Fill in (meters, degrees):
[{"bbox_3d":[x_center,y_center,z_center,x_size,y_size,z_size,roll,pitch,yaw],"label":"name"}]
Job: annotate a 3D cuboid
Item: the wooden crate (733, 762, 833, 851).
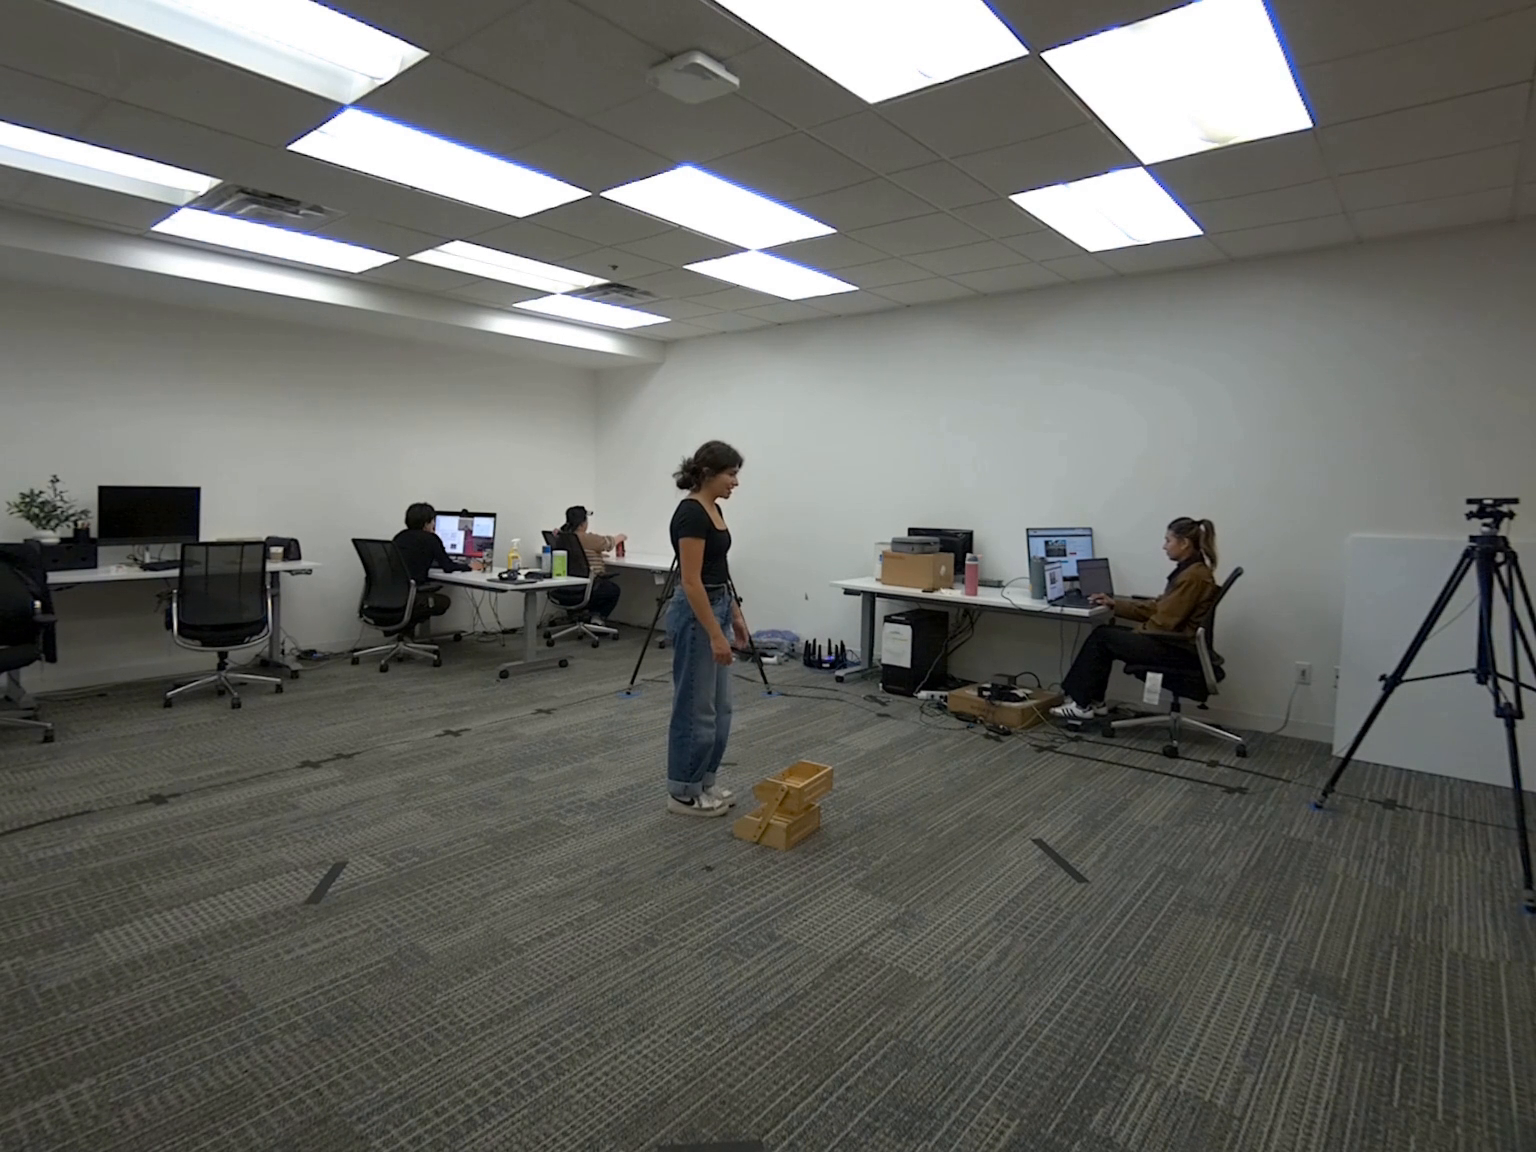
[{"bbox_3d":[0.051,0.907,3.449,0.311,0.272,0.316,5,6,32],"label":"wooden crate"}]
